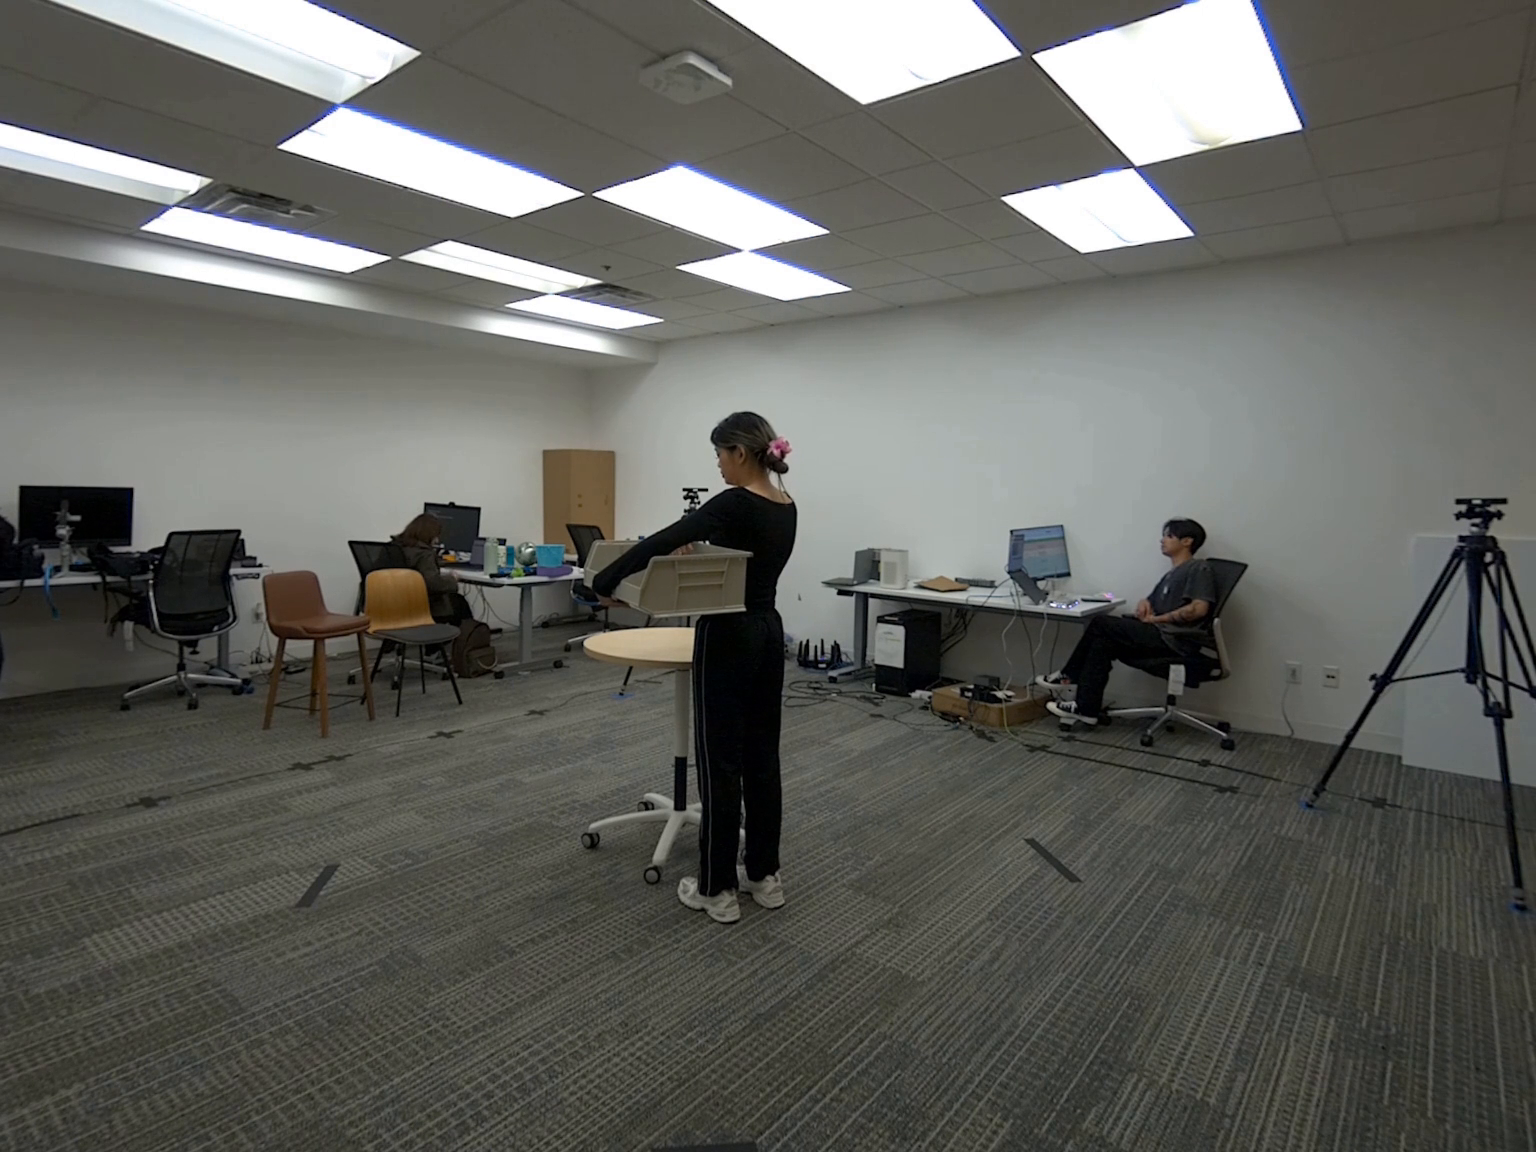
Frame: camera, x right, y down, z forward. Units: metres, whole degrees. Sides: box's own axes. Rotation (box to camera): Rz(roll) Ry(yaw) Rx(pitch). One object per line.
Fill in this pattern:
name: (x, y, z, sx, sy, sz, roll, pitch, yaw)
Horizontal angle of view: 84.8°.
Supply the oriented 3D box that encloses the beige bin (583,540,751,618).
beige bin: (-0.333, -0.001, 2.658, 0.367, 0.188, 0.436, -2, 8, -33)
